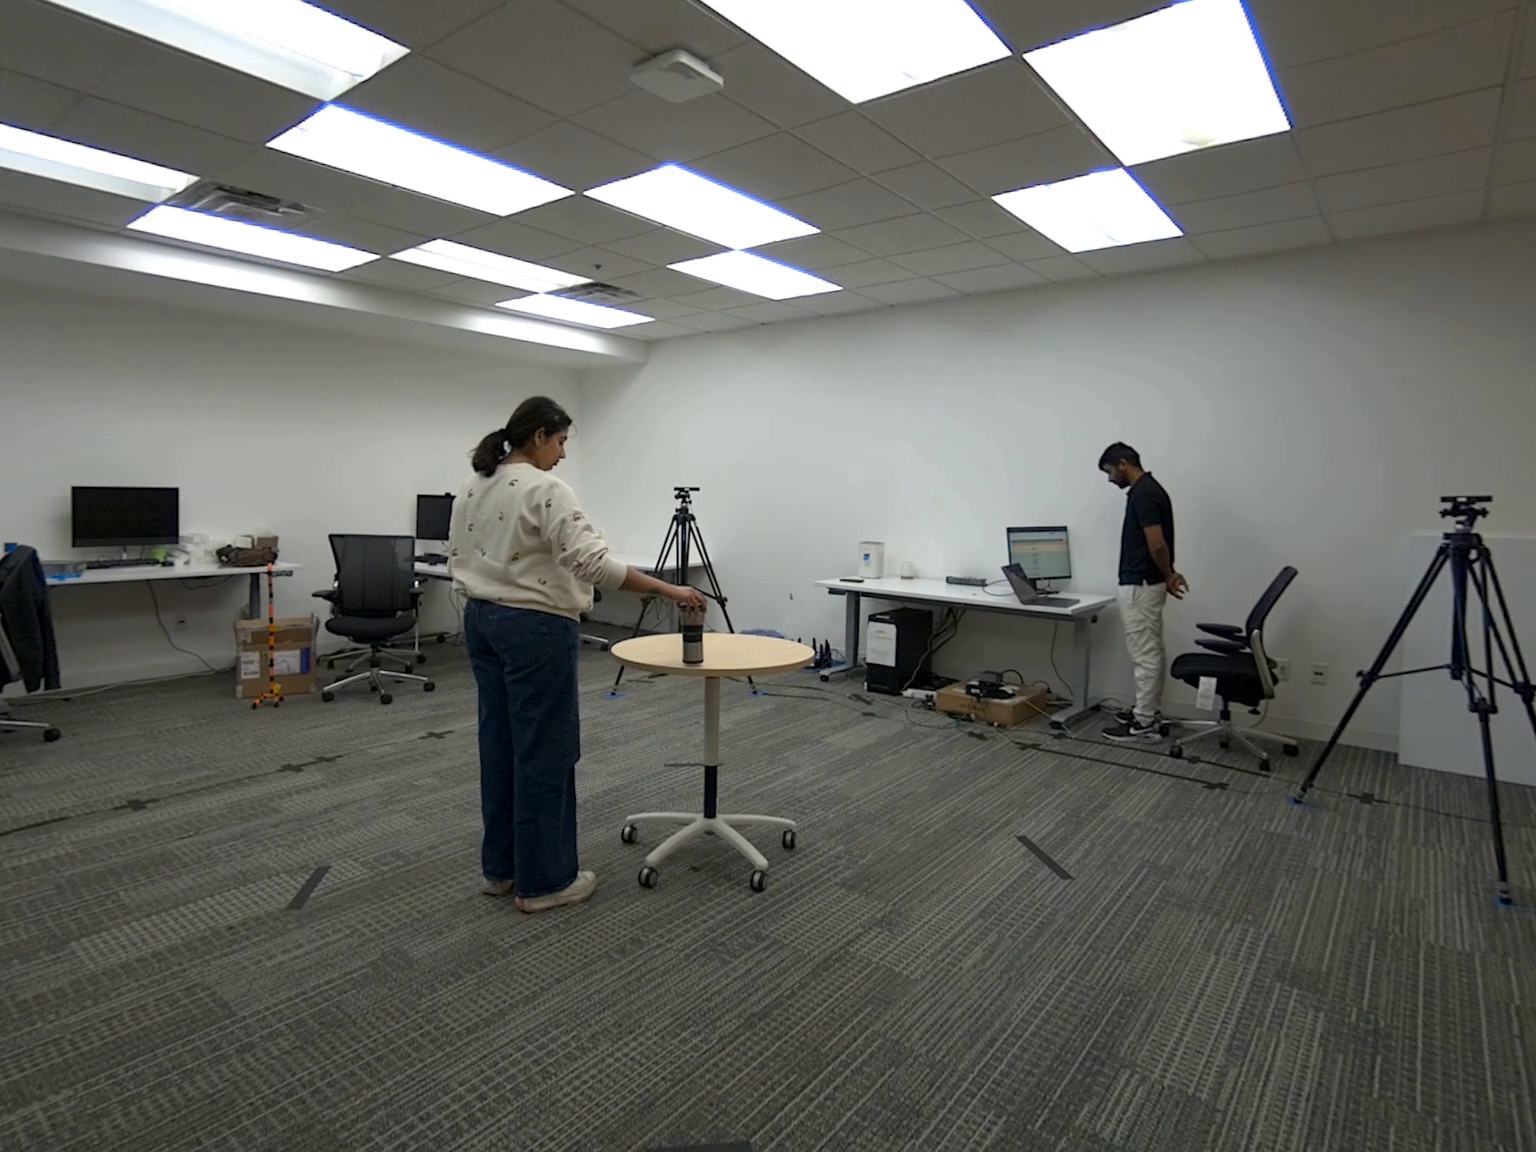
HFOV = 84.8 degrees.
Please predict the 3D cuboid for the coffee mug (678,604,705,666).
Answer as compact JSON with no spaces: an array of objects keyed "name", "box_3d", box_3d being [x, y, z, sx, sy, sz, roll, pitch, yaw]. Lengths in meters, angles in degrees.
[{"name":"coffee mug","box_3d":[-0.249,0.193,2.886,0.118,0.203,0.090,-6,1,-39]}]
